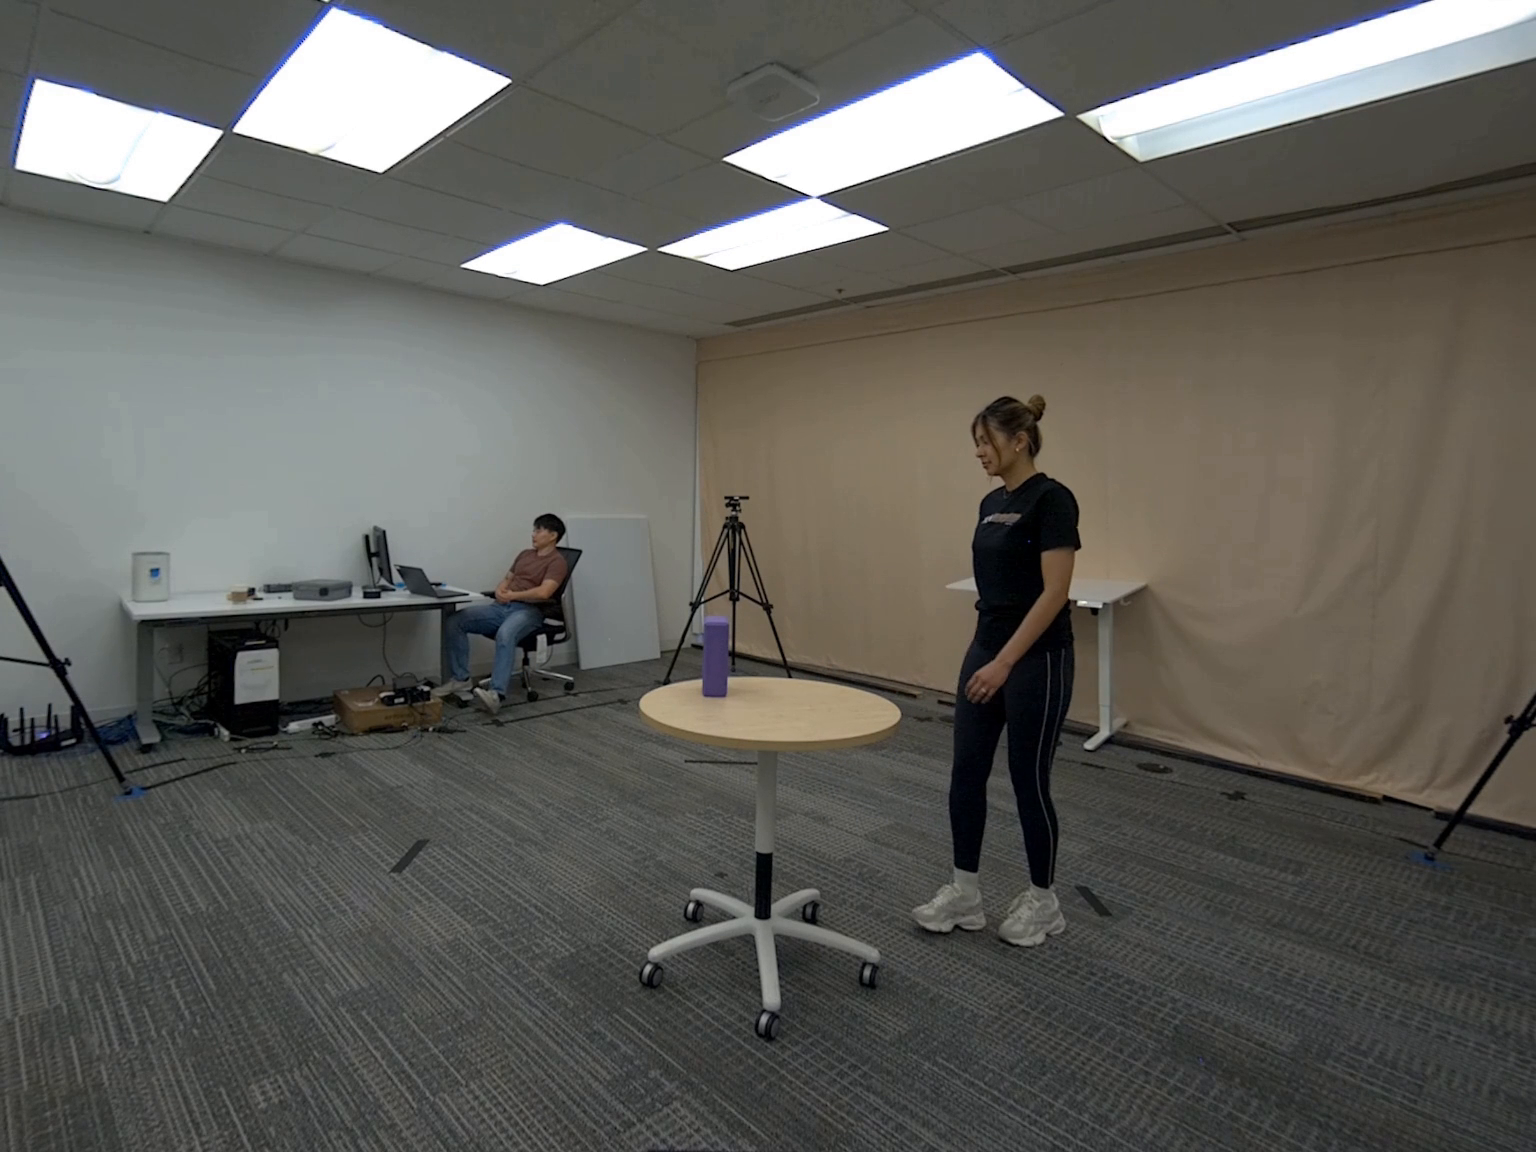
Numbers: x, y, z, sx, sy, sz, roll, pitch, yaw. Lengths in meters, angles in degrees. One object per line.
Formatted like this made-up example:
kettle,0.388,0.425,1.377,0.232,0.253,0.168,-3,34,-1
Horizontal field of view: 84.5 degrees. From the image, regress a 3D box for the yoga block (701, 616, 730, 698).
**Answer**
yoga block,-0.163,0.249,2.622,0.076,0.230,0.148,1,-4,1
